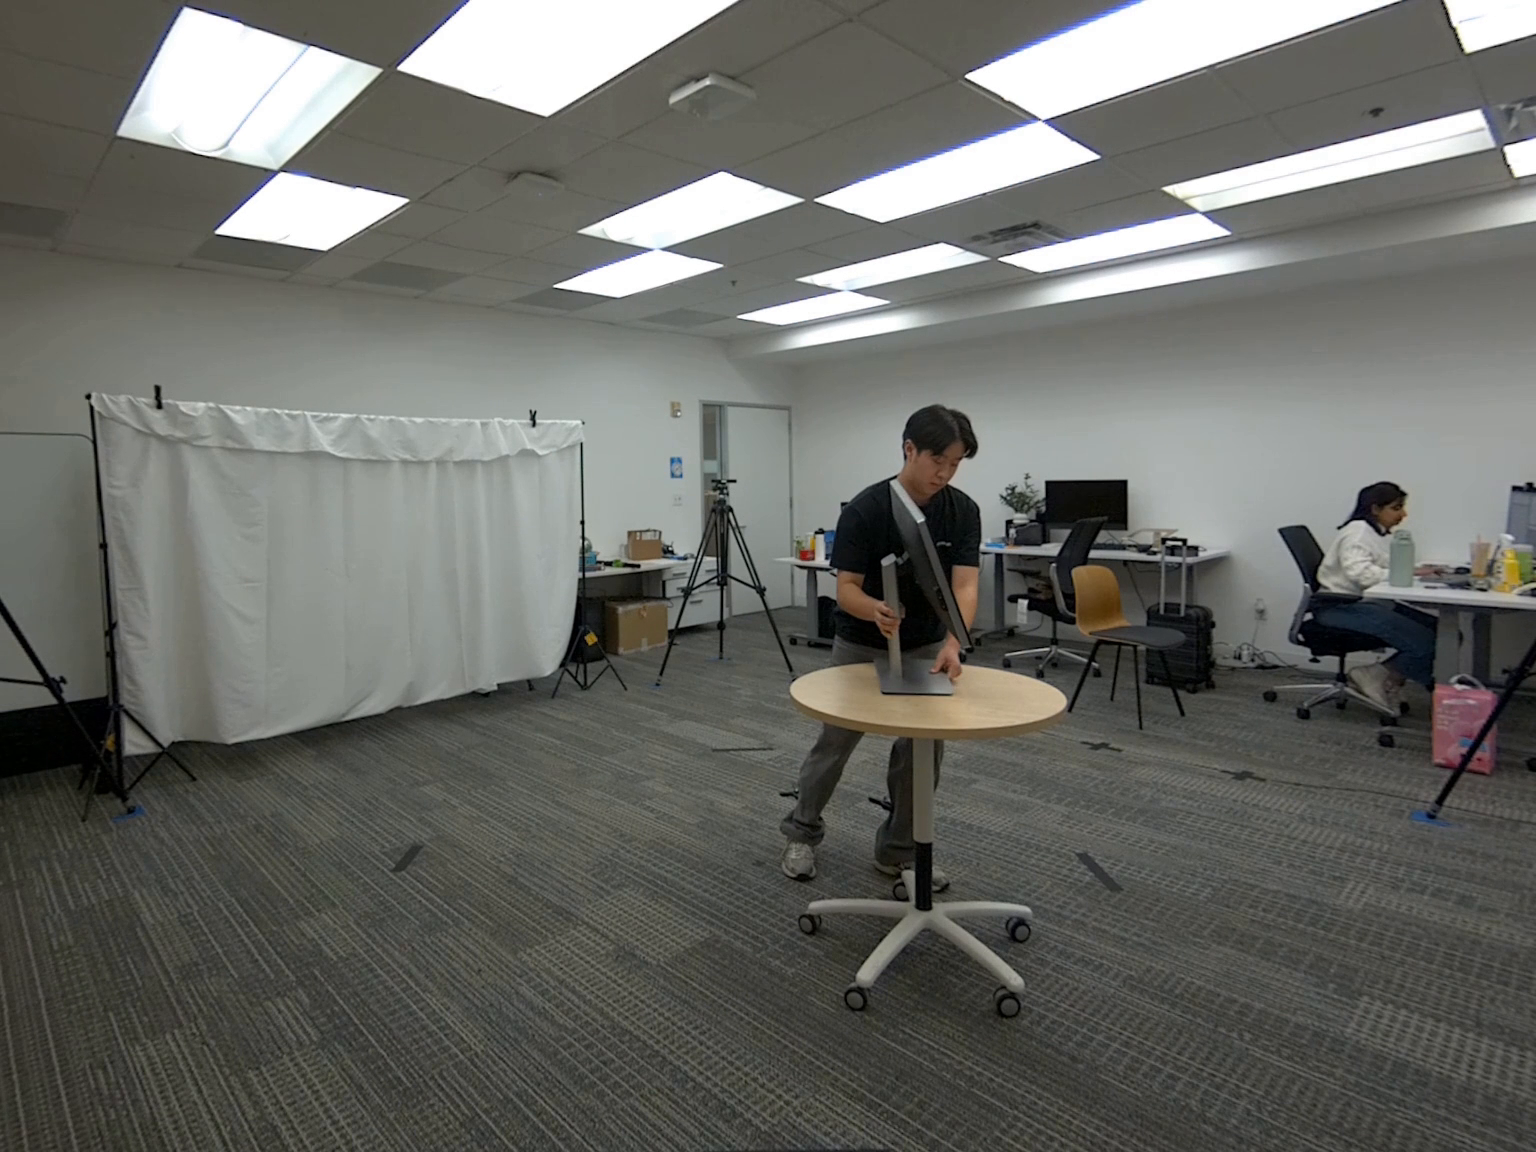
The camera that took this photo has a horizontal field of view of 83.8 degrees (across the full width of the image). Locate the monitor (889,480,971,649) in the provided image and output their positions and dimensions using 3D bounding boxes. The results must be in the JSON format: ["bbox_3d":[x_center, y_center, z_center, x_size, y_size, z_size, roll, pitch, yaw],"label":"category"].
[{"bbox_3d":[0.430,0.046,2.456,0.223,0.558,0.567,-2,15,3],"label":"monitor"}]
